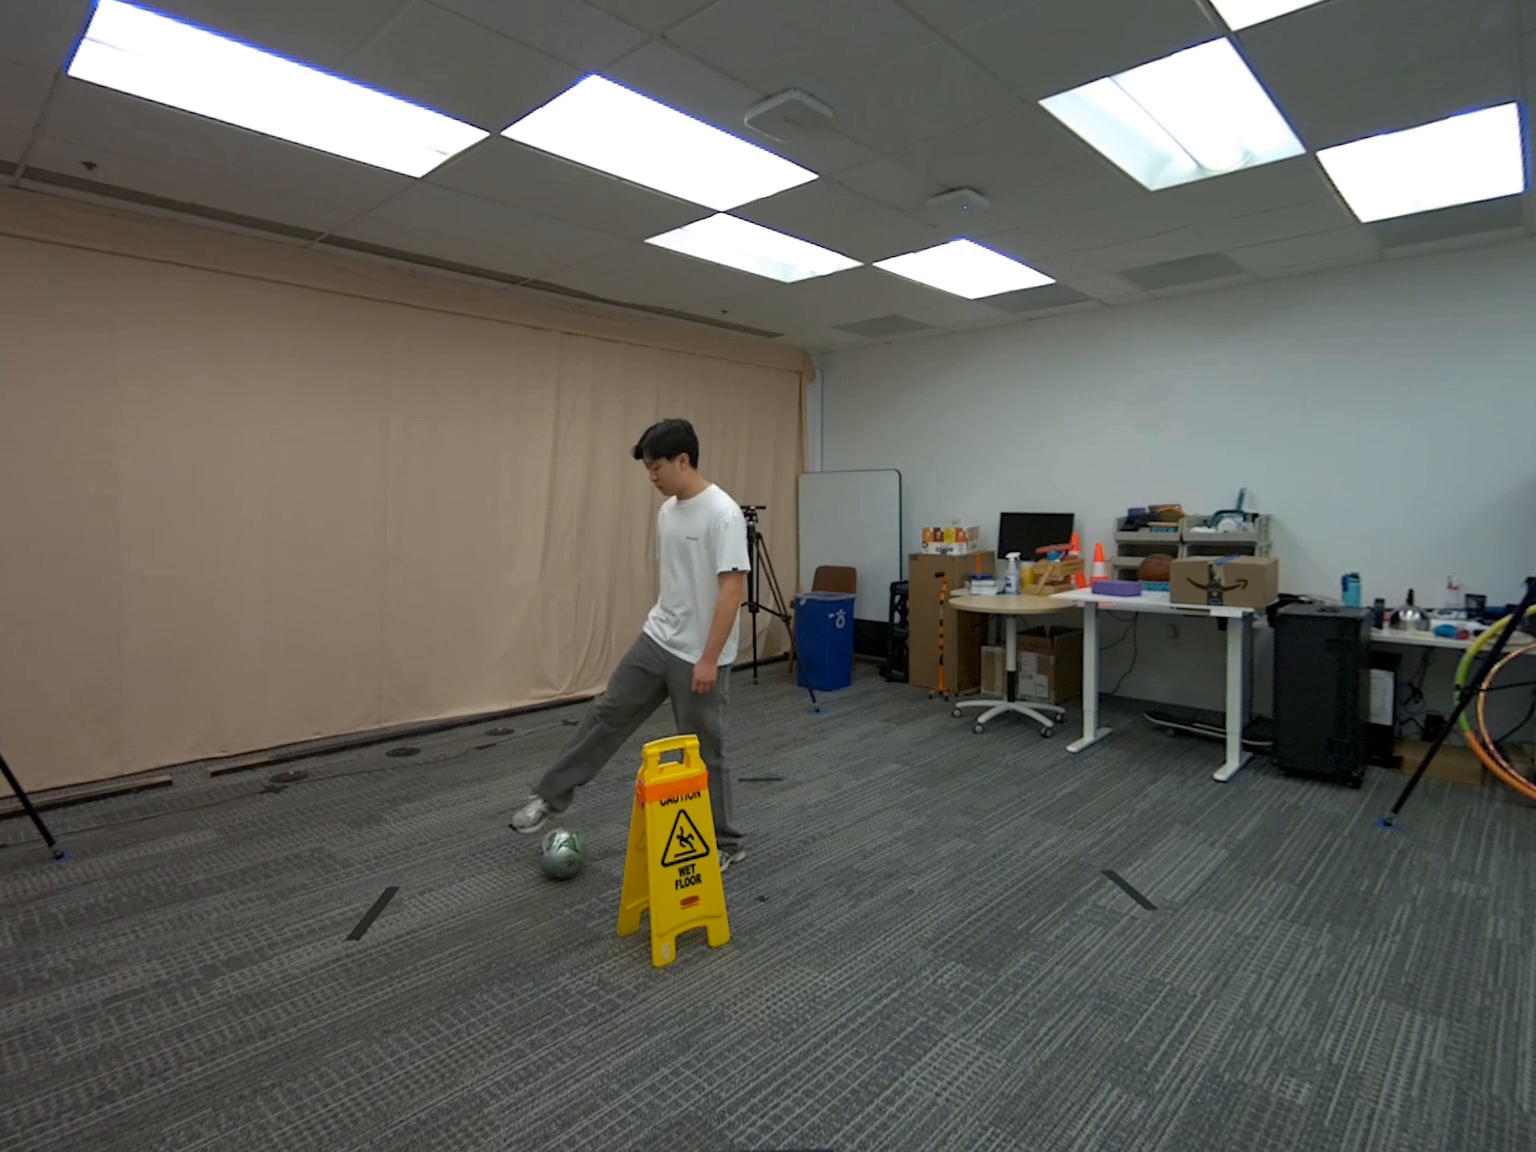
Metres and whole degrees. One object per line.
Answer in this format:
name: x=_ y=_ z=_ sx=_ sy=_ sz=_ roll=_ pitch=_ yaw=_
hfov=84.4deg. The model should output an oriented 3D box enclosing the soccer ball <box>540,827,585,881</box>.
soccer ball: x=-0.763 y=1.042 z=3.169 sx=0.187 sy=0.187 sz=0.188 roll=0 pitch=4 yaw=-2
